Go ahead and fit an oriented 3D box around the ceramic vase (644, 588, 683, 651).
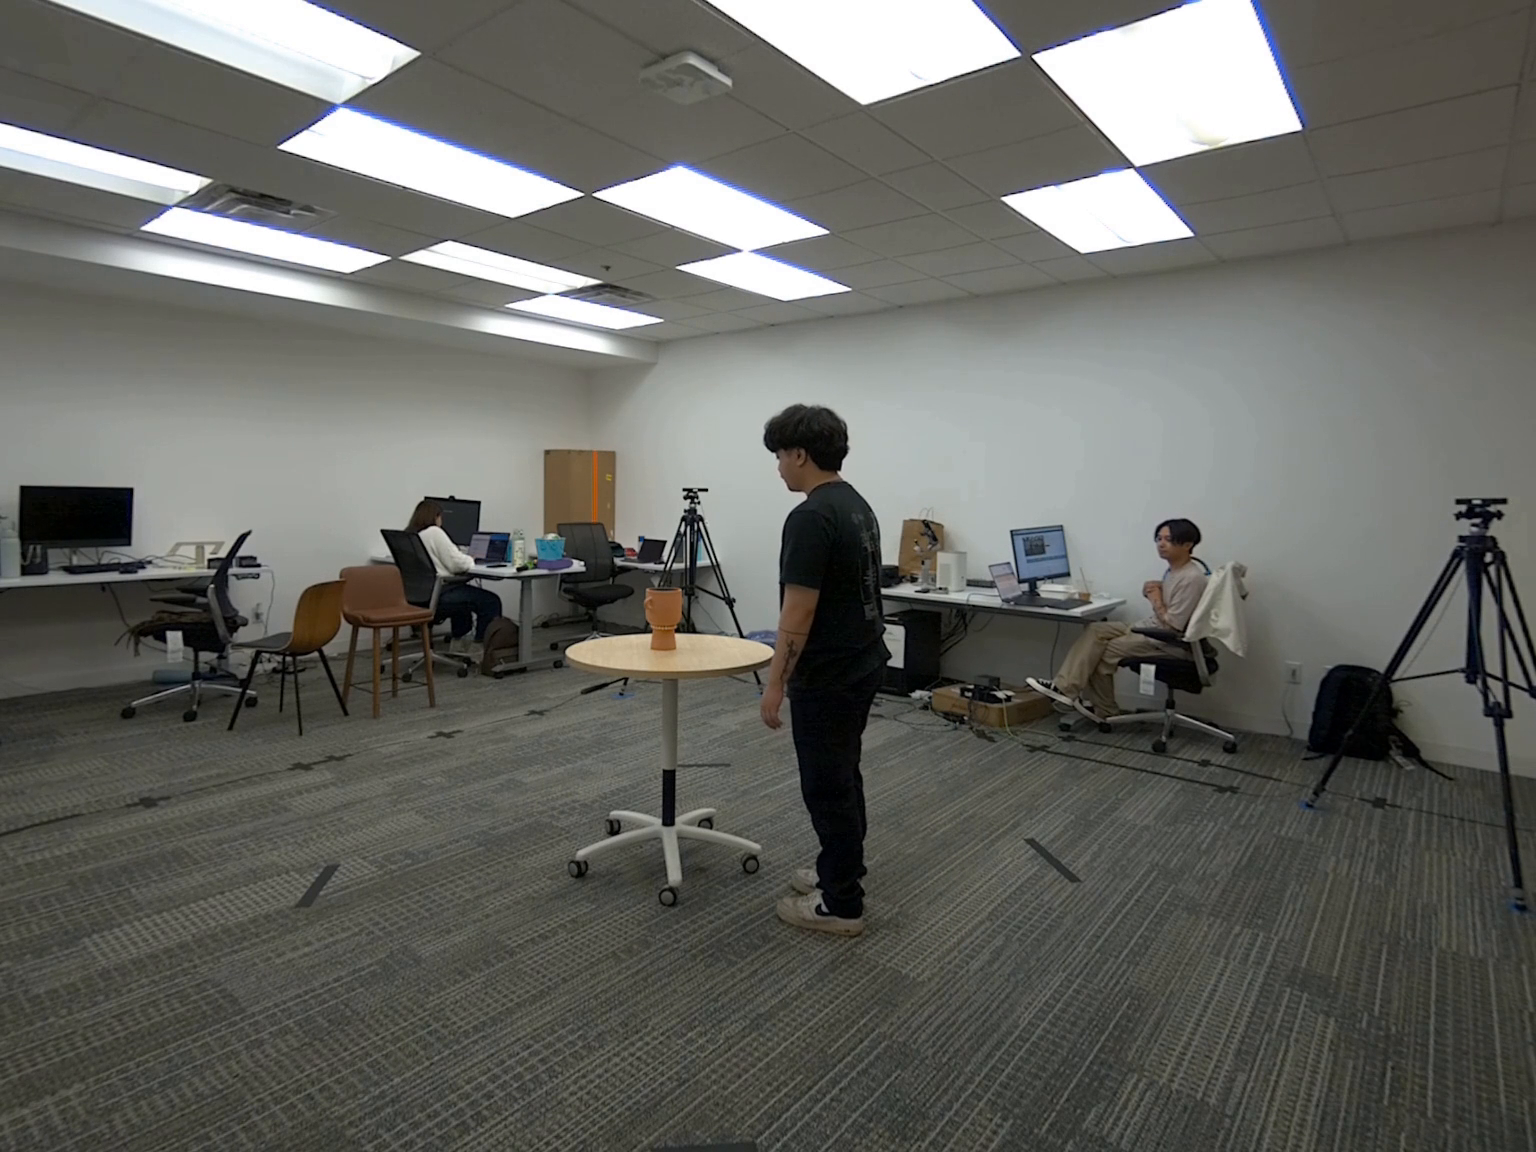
[{"bbox_3d":[-0.401,0.158,3.173,0.157,0.219,0.137,-1,3,-12],"label":"ceramic vase"}]
